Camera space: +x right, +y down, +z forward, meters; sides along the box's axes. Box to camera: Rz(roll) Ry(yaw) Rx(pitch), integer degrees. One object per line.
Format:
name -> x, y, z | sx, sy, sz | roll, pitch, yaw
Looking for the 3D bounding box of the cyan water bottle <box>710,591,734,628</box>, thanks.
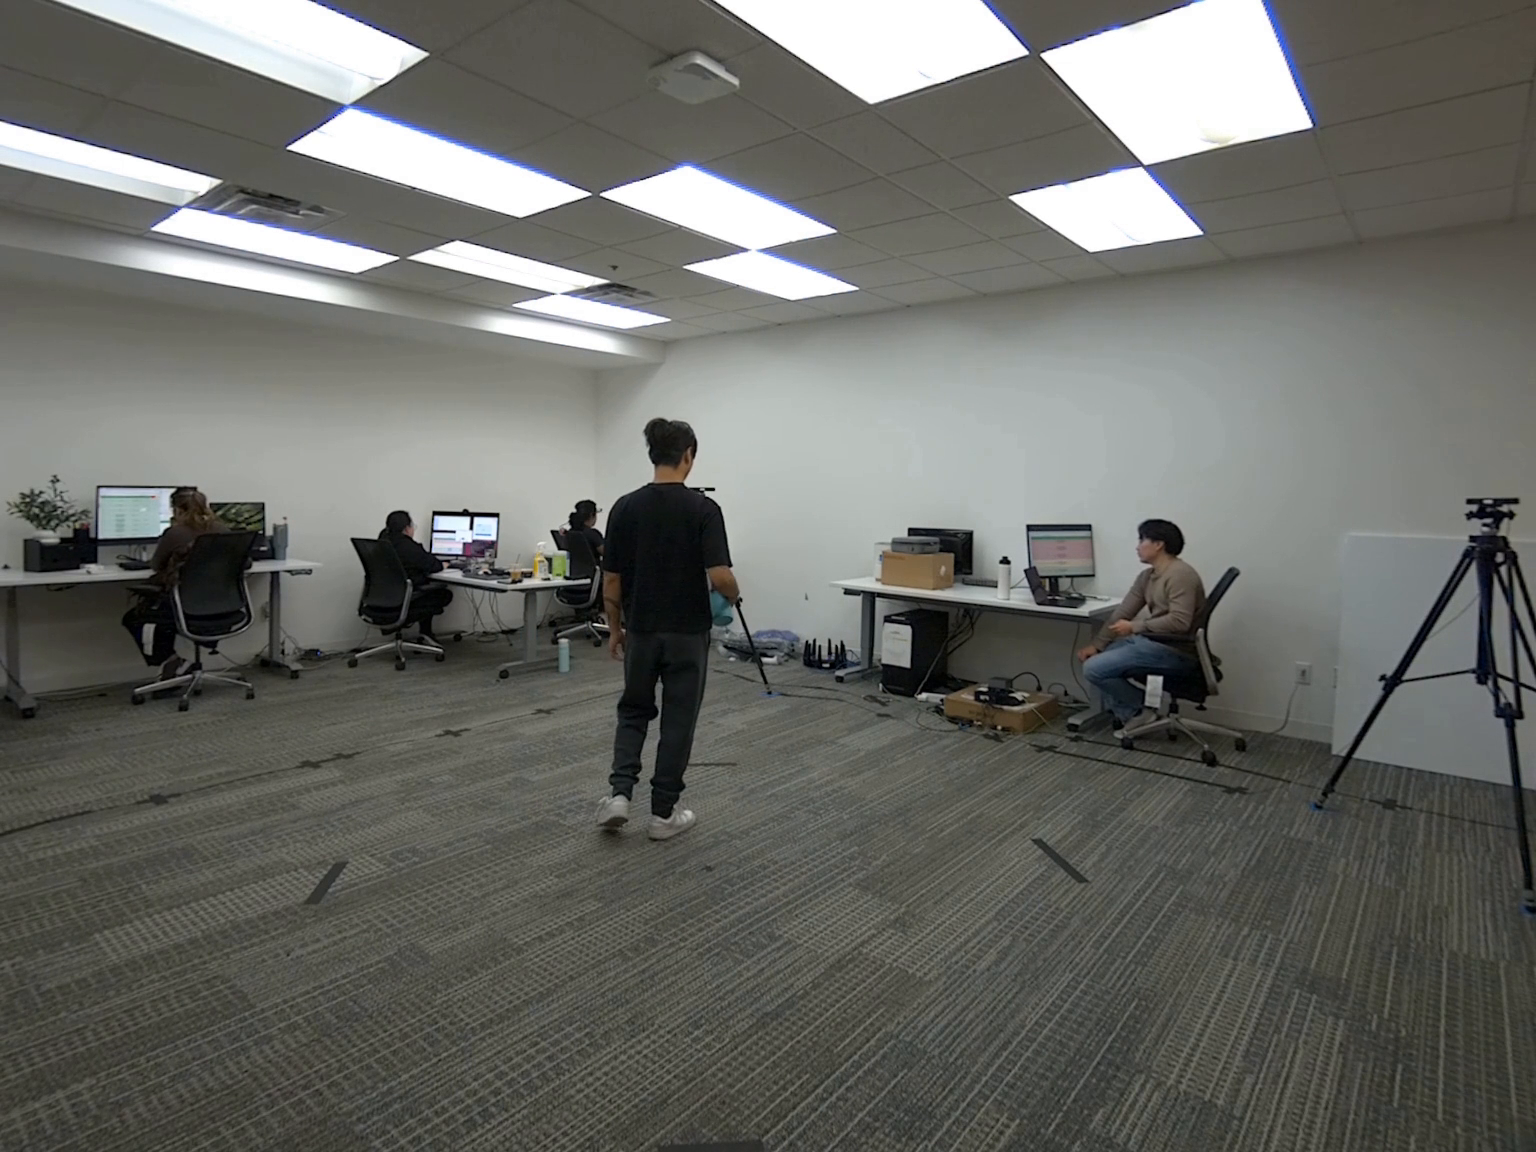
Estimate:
cyan water bottle -> -0.230, 0.070, 3.529 | 0.092, 0.292, 0.090 | -7, -34, -6
